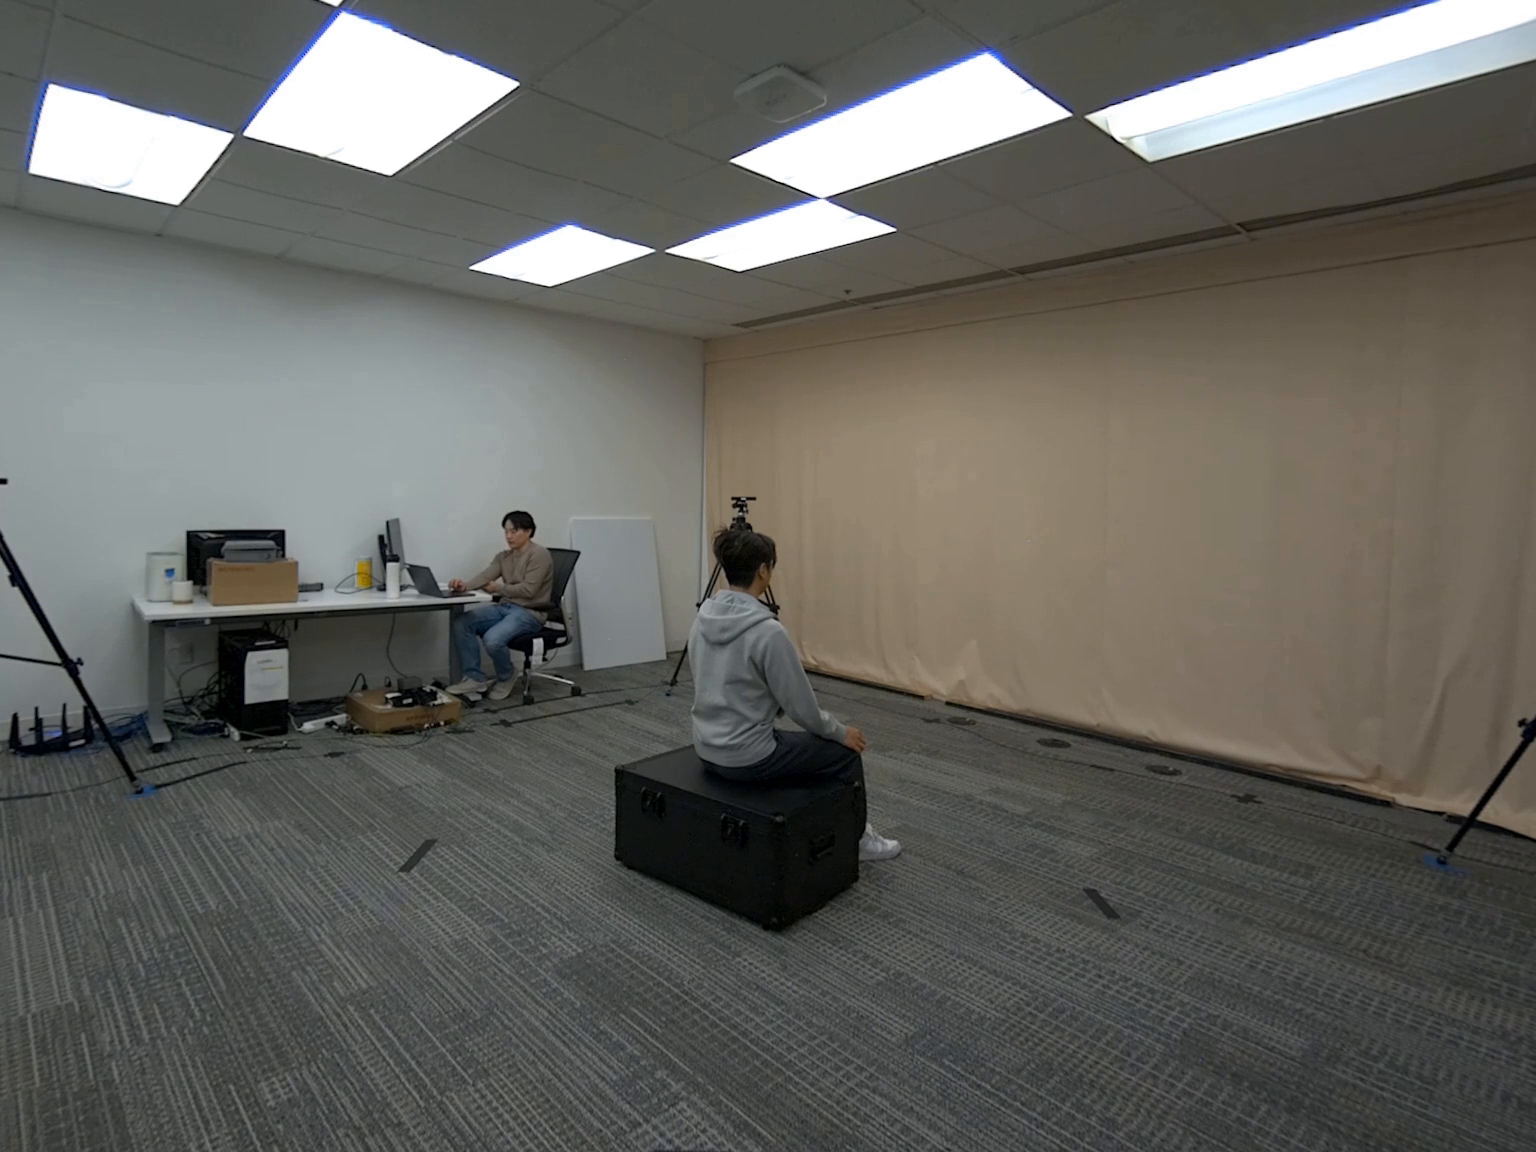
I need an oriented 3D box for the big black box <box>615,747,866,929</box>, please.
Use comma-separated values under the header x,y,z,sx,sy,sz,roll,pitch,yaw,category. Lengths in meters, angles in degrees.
x,y,z,sx,sy,sz,roll,pitch,yaw,category
-0.111,0.928,3.070,0.883,0.395,0.510,5,6,40,big black box
